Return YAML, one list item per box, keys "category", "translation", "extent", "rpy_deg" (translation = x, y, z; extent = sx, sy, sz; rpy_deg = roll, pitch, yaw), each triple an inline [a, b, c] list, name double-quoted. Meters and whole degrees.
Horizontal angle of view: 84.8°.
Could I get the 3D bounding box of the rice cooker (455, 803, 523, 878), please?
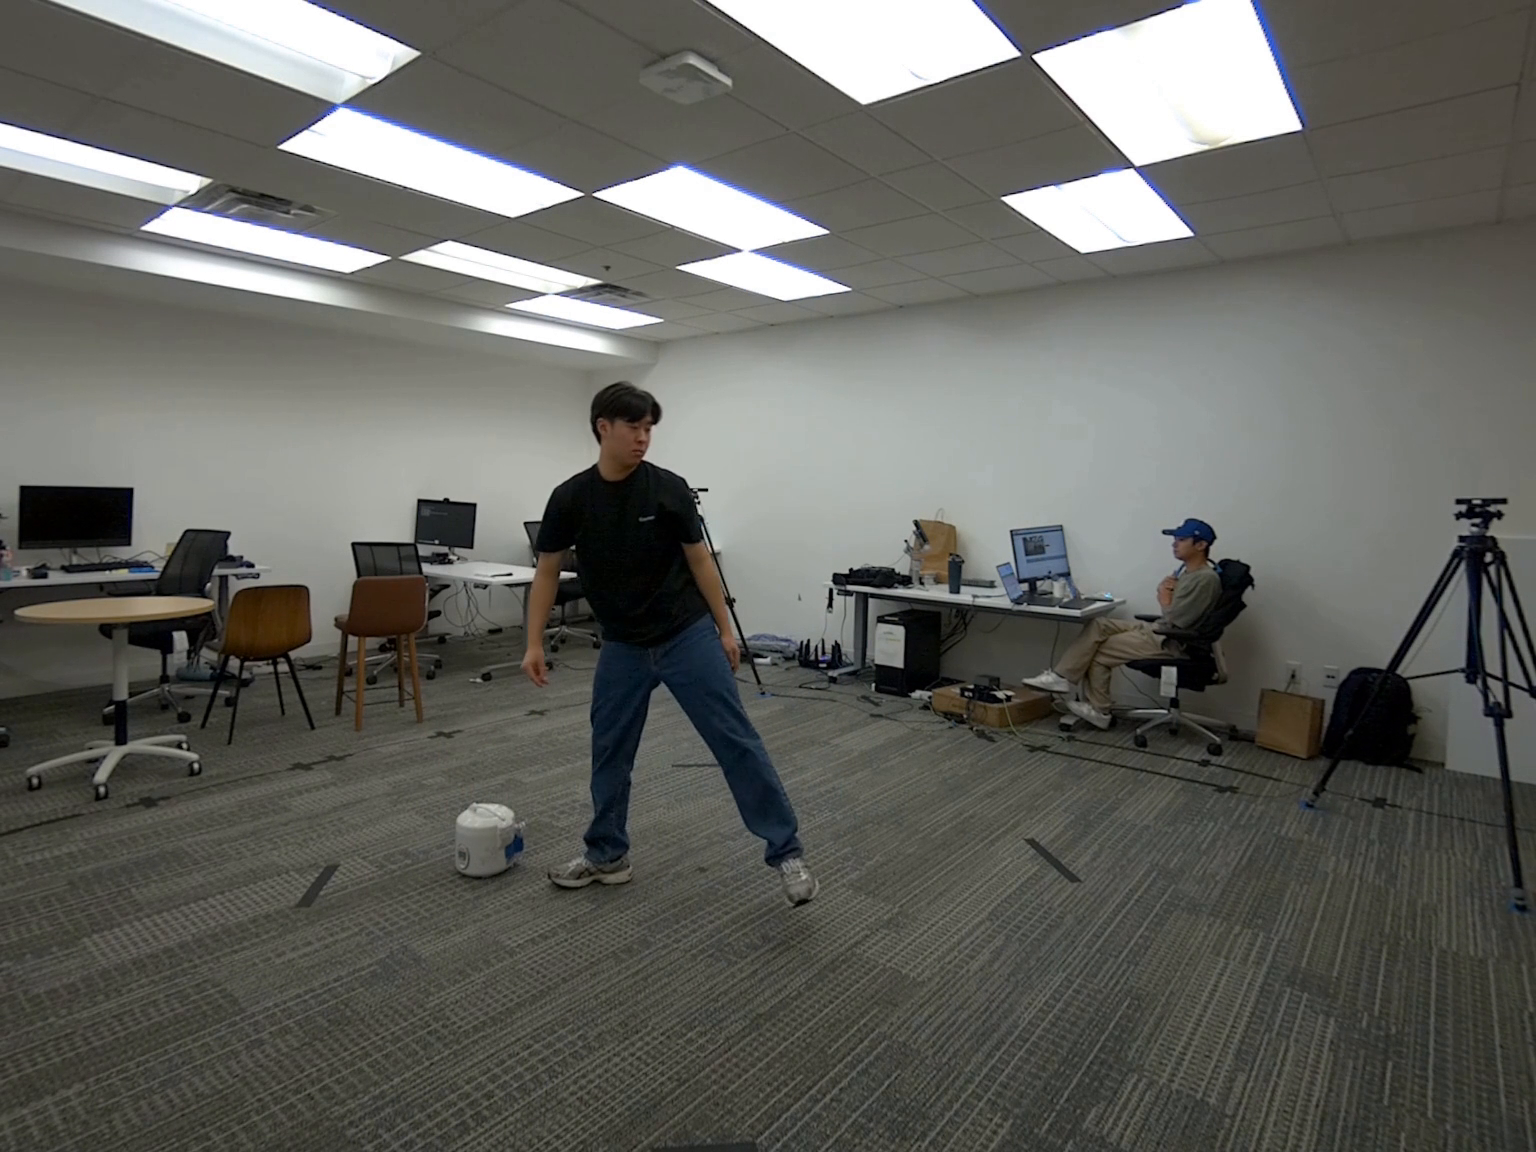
- category: "rice cooker"
  translation: [-1.040, 0.945, 3.084]
  extent: [0.227, 0.232, 0.212]
  rpy_deg: [3, 4, 30]
